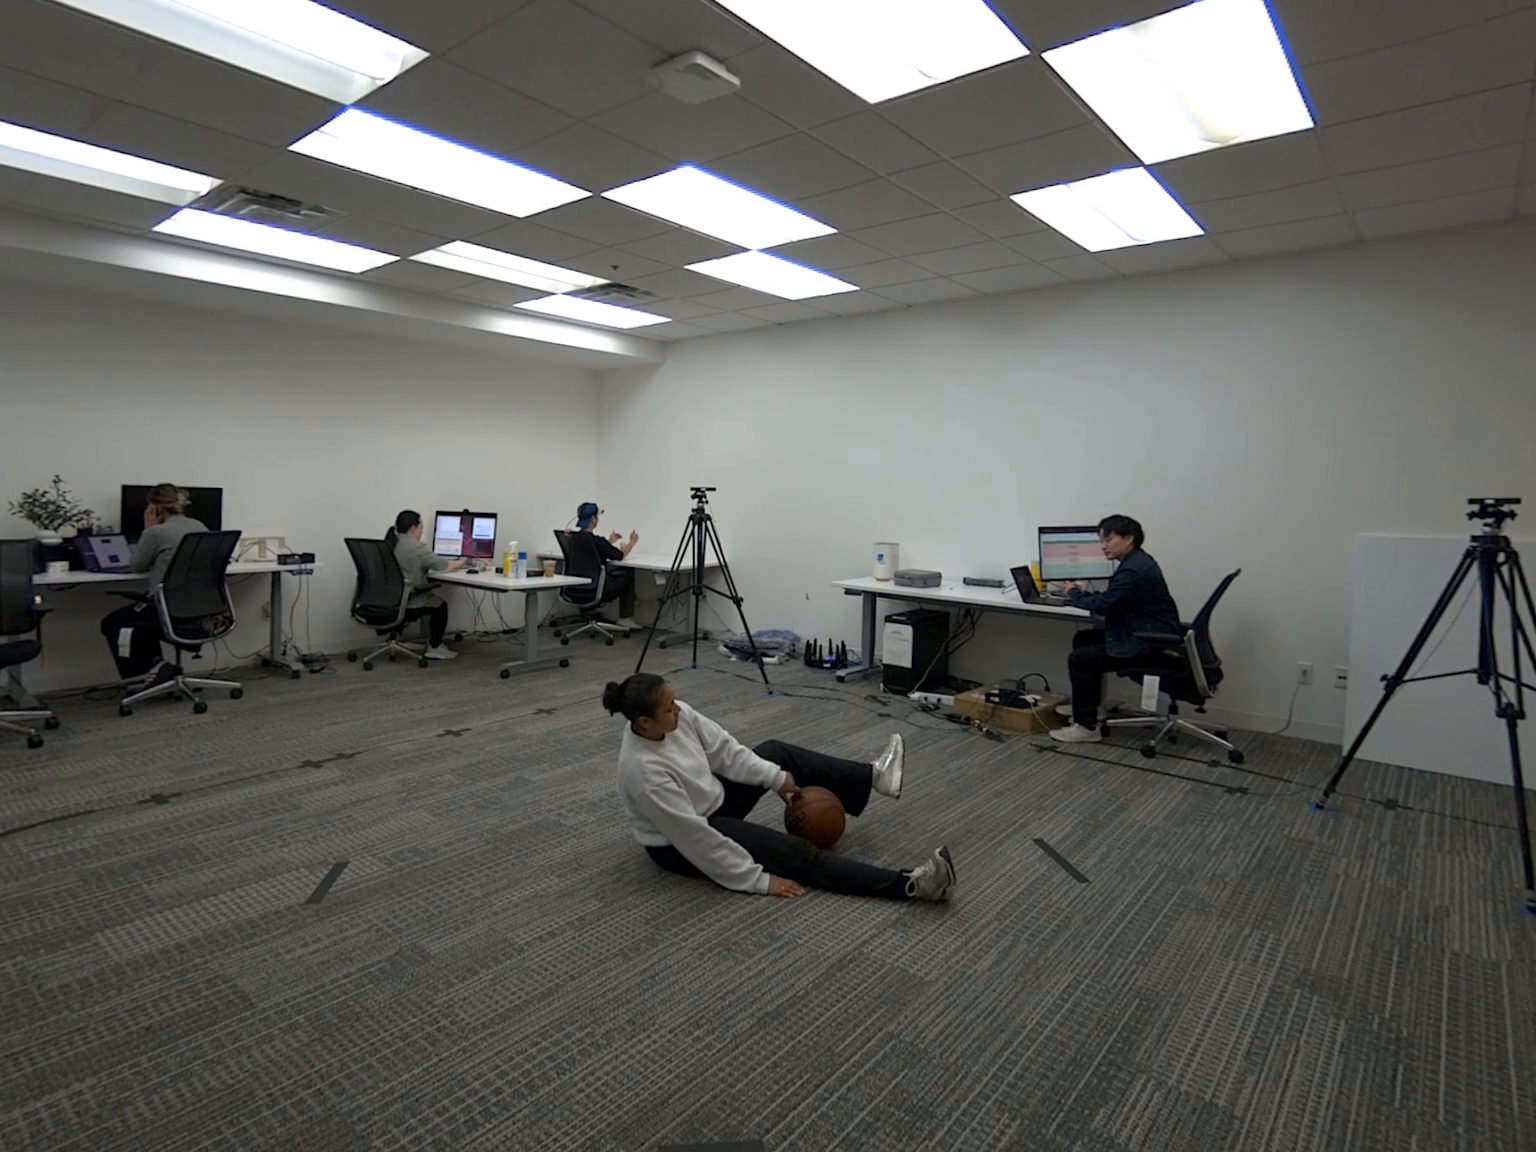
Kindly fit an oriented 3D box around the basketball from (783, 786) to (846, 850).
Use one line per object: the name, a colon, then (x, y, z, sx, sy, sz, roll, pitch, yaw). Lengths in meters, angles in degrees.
basketball: (0.173, 0.940, 3.300, 0.235, 0.235, 0.237, 1, 4, -2)
